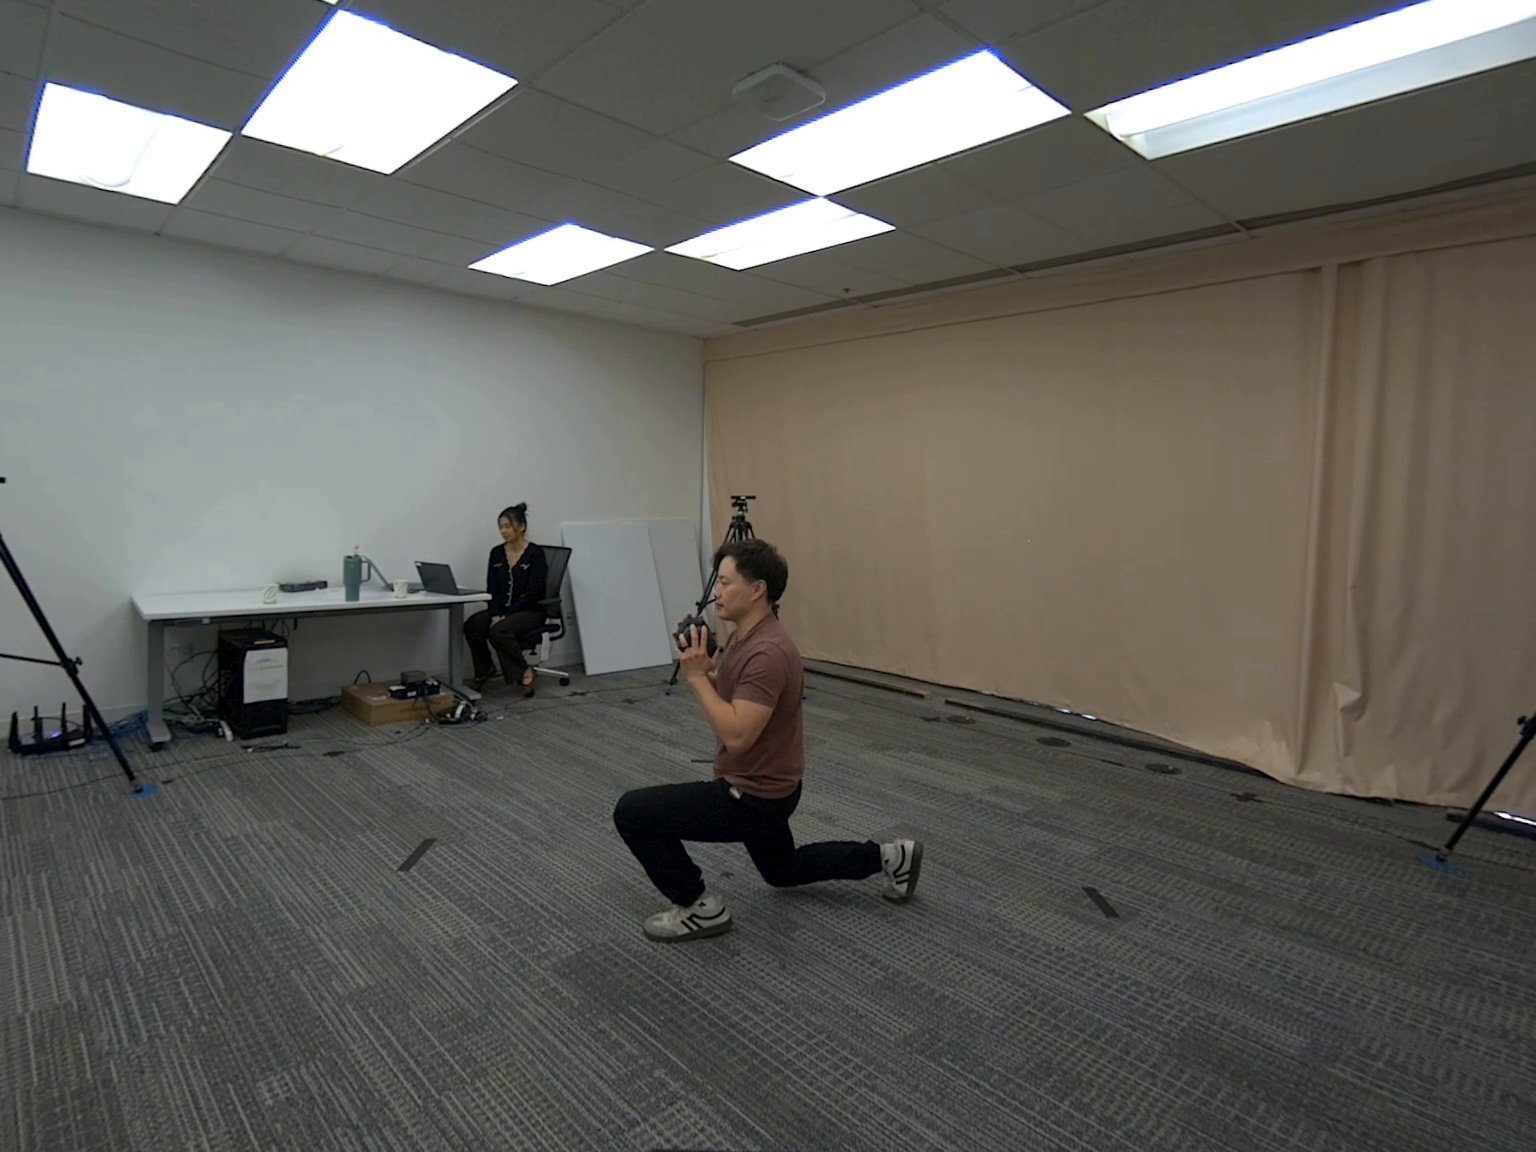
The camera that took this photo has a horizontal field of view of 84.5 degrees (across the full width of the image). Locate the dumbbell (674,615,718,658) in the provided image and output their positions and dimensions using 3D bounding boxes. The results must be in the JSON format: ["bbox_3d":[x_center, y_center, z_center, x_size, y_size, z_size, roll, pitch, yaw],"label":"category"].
[{"bbox_3d":[-0.214,0.207,2.680,0.122,0.108,0.296,3,2,-9],"label":"dumbbell"}]
